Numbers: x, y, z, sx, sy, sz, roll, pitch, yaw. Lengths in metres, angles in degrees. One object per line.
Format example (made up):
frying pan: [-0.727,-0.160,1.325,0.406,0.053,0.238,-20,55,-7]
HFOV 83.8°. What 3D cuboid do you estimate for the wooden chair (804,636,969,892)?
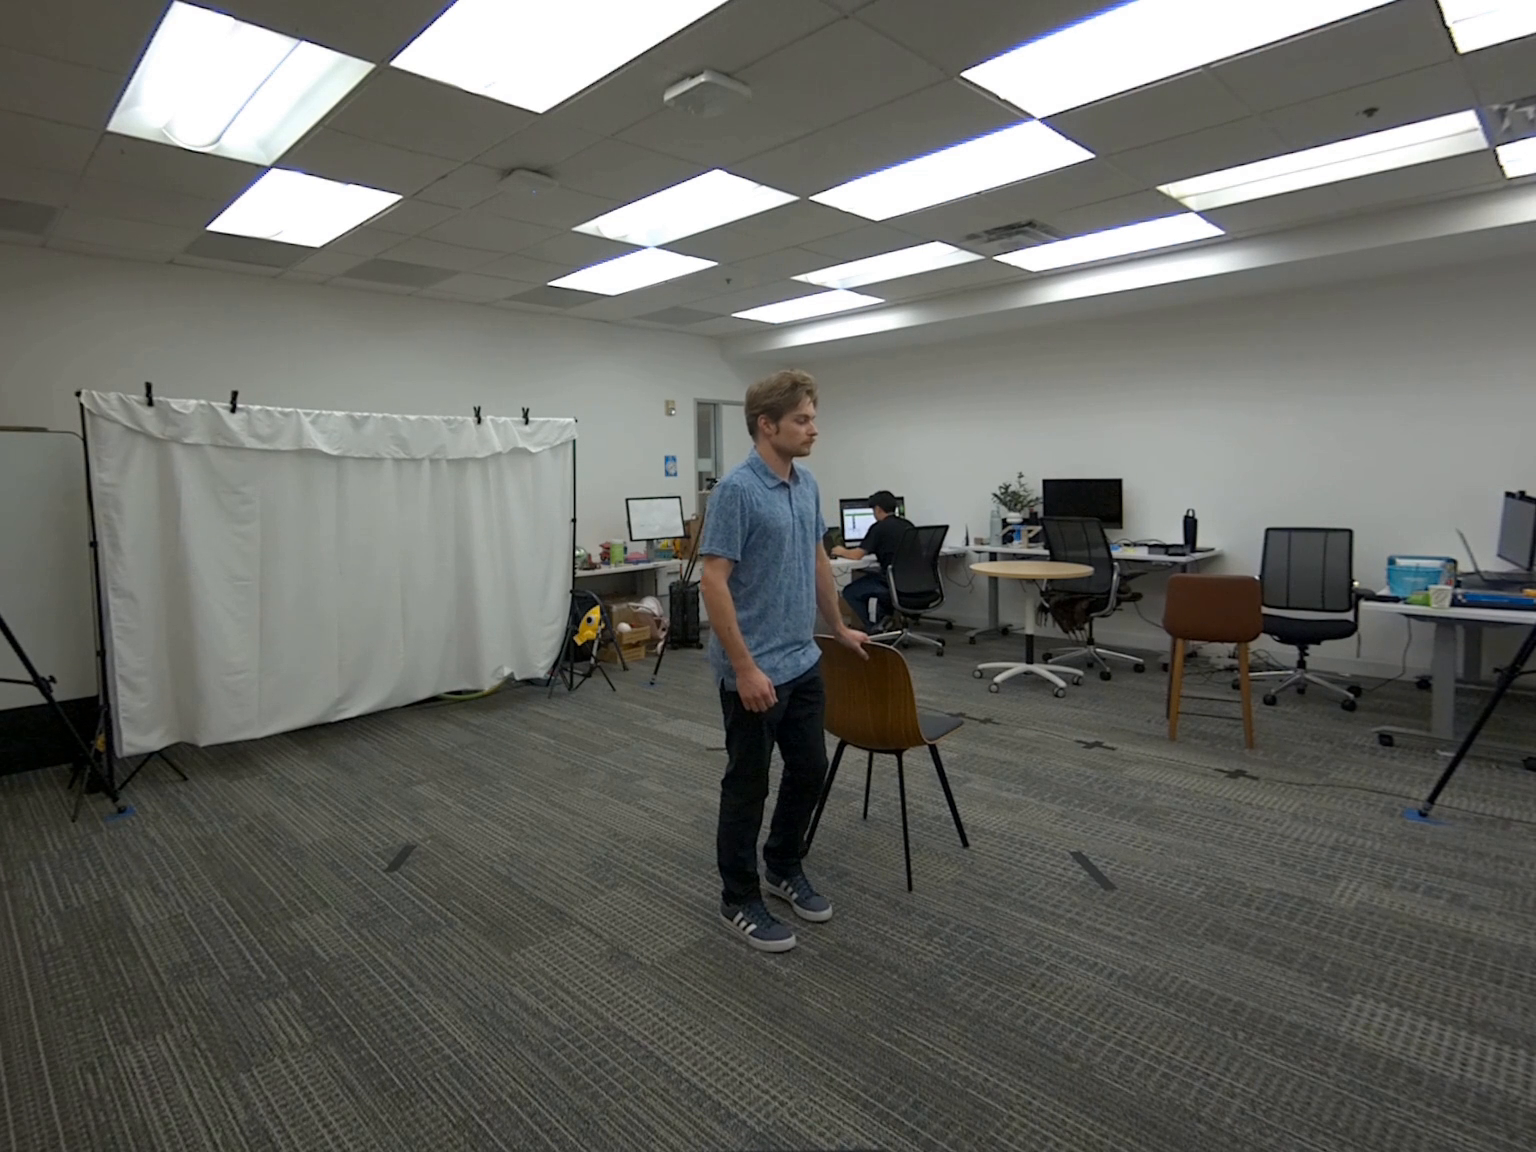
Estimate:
wooden chair: [0.435,0.598,3.158,0.492,0.871,0.511,2,10,39]
